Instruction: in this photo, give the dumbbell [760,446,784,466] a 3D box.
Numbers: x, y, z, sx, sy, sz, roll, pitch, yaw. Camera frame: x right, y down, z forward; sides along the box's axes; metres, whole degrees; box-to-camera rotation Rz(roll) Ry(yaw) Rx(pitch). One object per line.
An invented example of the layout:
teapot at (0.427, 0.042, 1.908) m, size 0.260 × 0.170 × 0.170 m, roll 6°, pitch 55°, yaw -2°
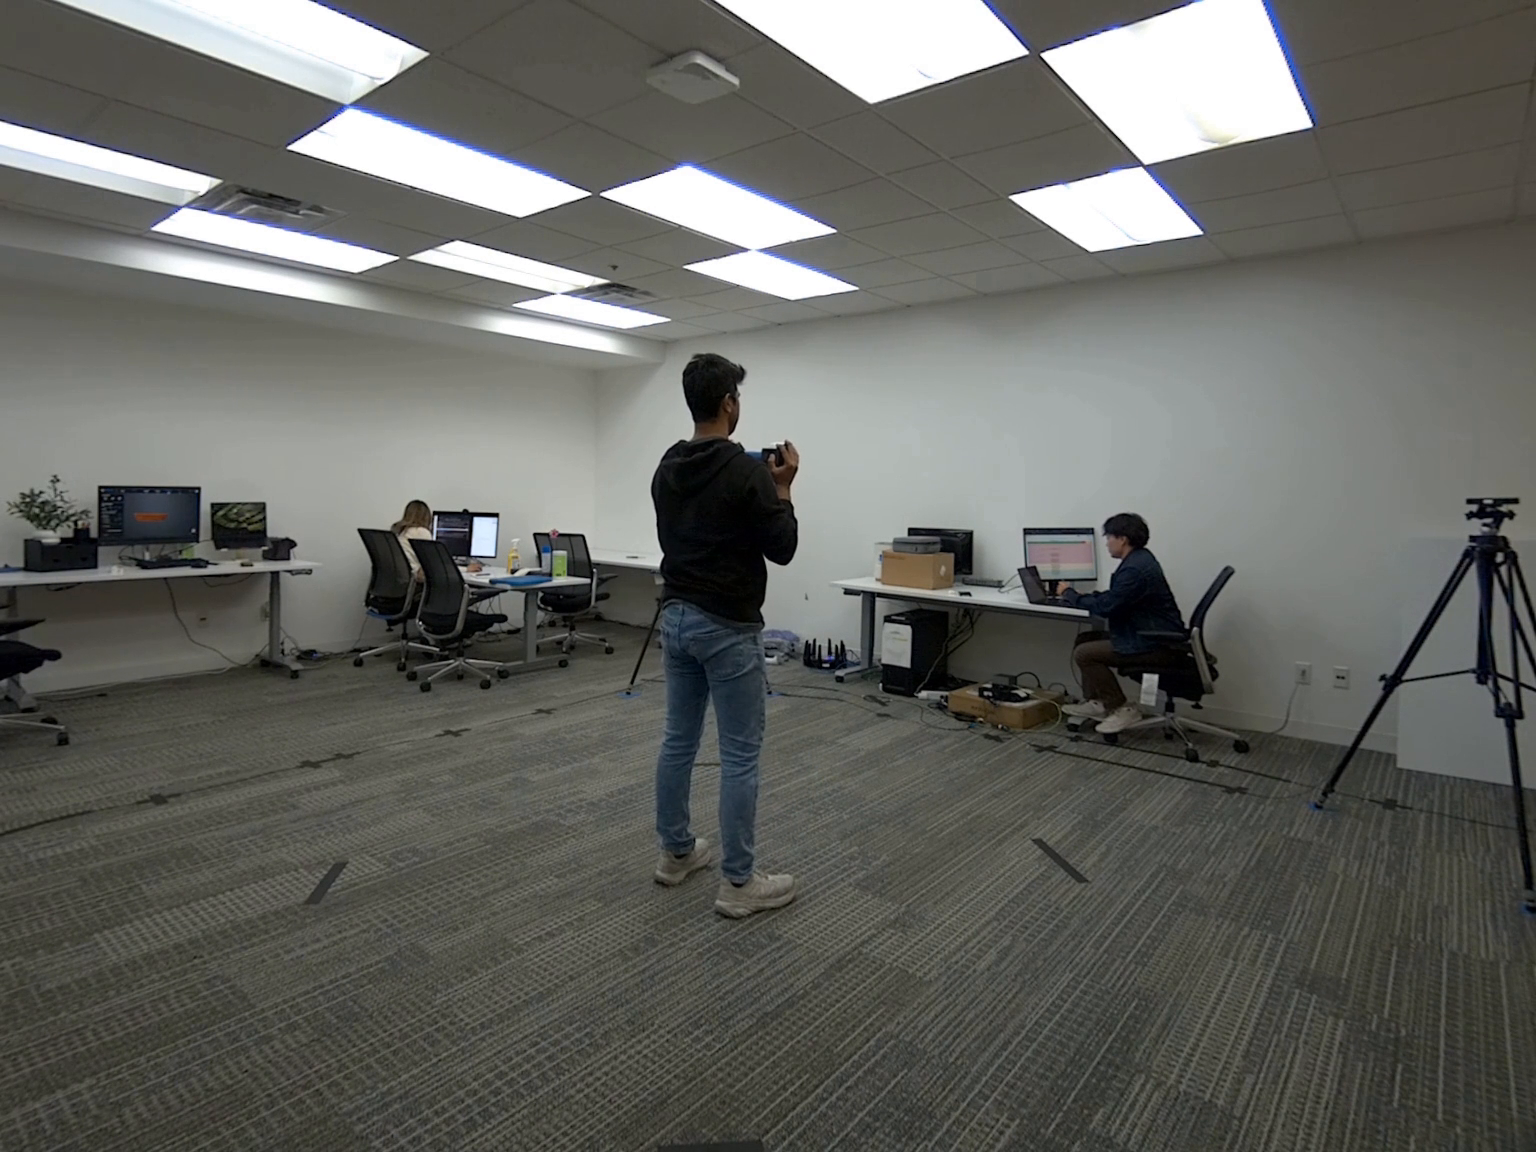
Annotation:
dumbbell at (-0.071, -0.415, 3.042) m, size 0.304 × 0.123 × 0.105 m, roll 10°, pitch 1°, yaw 42°
